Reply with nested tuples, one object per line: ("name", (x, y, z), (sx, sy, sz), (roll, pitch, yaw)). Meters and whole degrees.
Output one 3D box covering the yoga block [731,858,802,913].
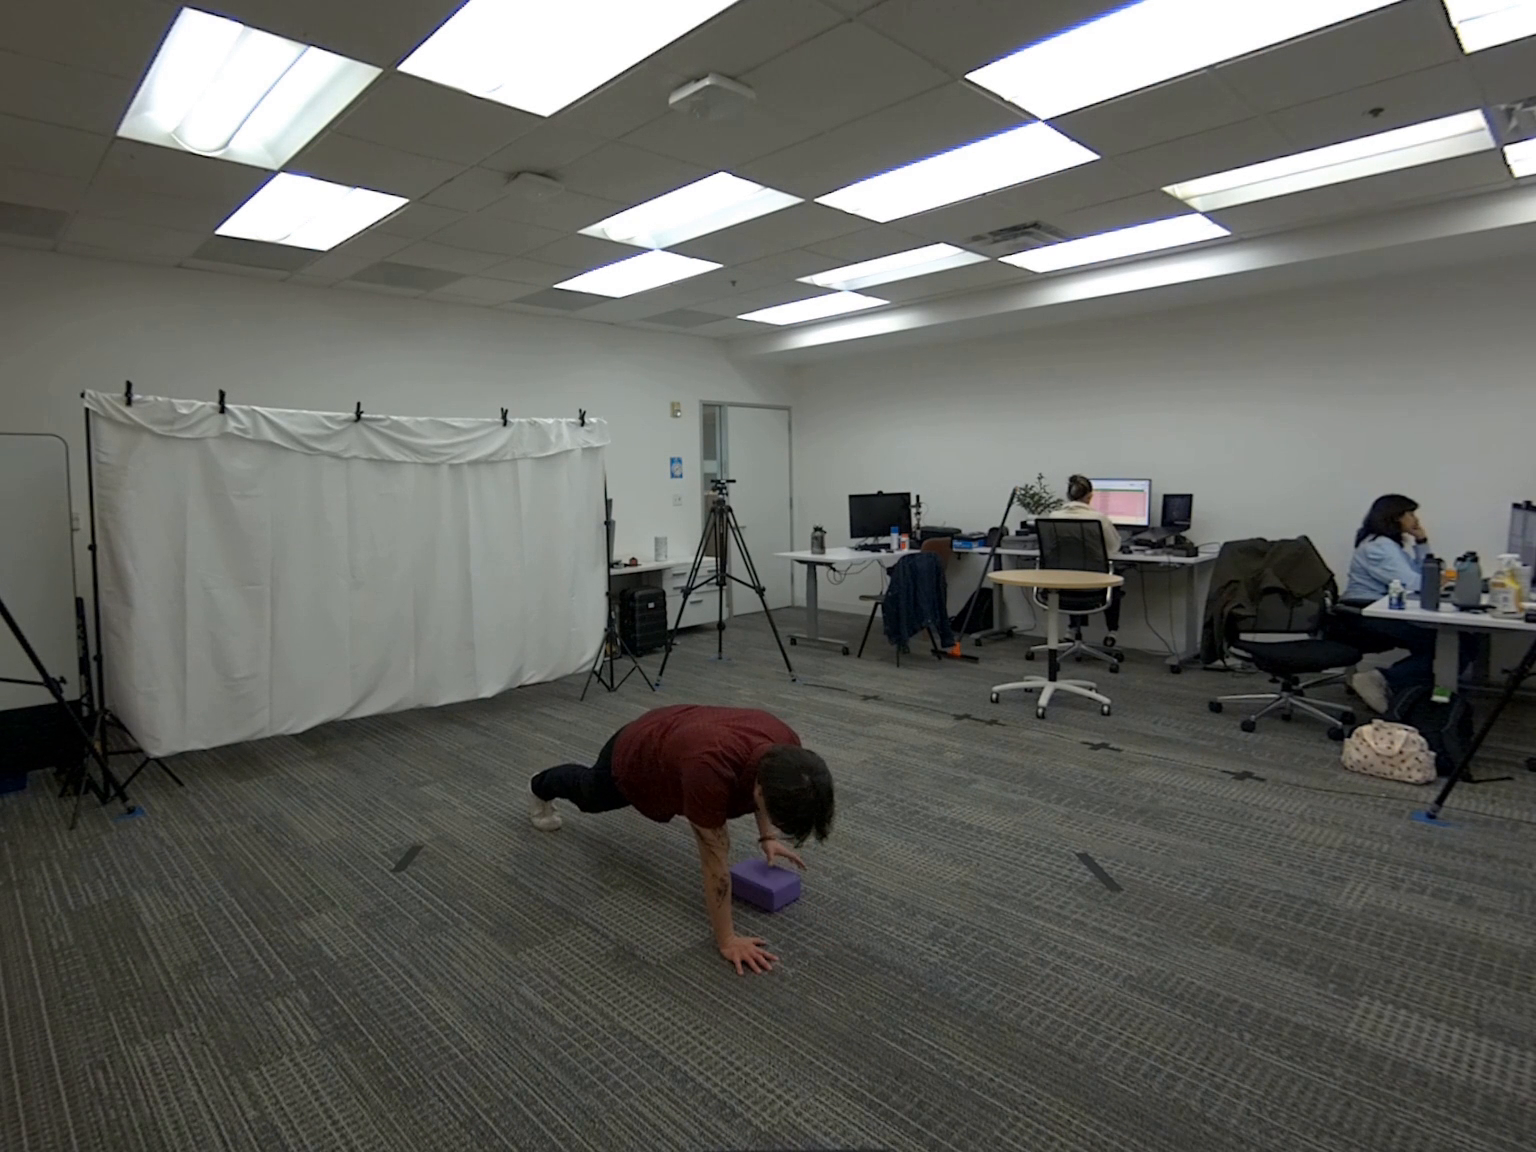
("yoga block", (-0.018, 1.025, 2.875), (0.145, 0.076, 0.236), (-5, 8, -44))
